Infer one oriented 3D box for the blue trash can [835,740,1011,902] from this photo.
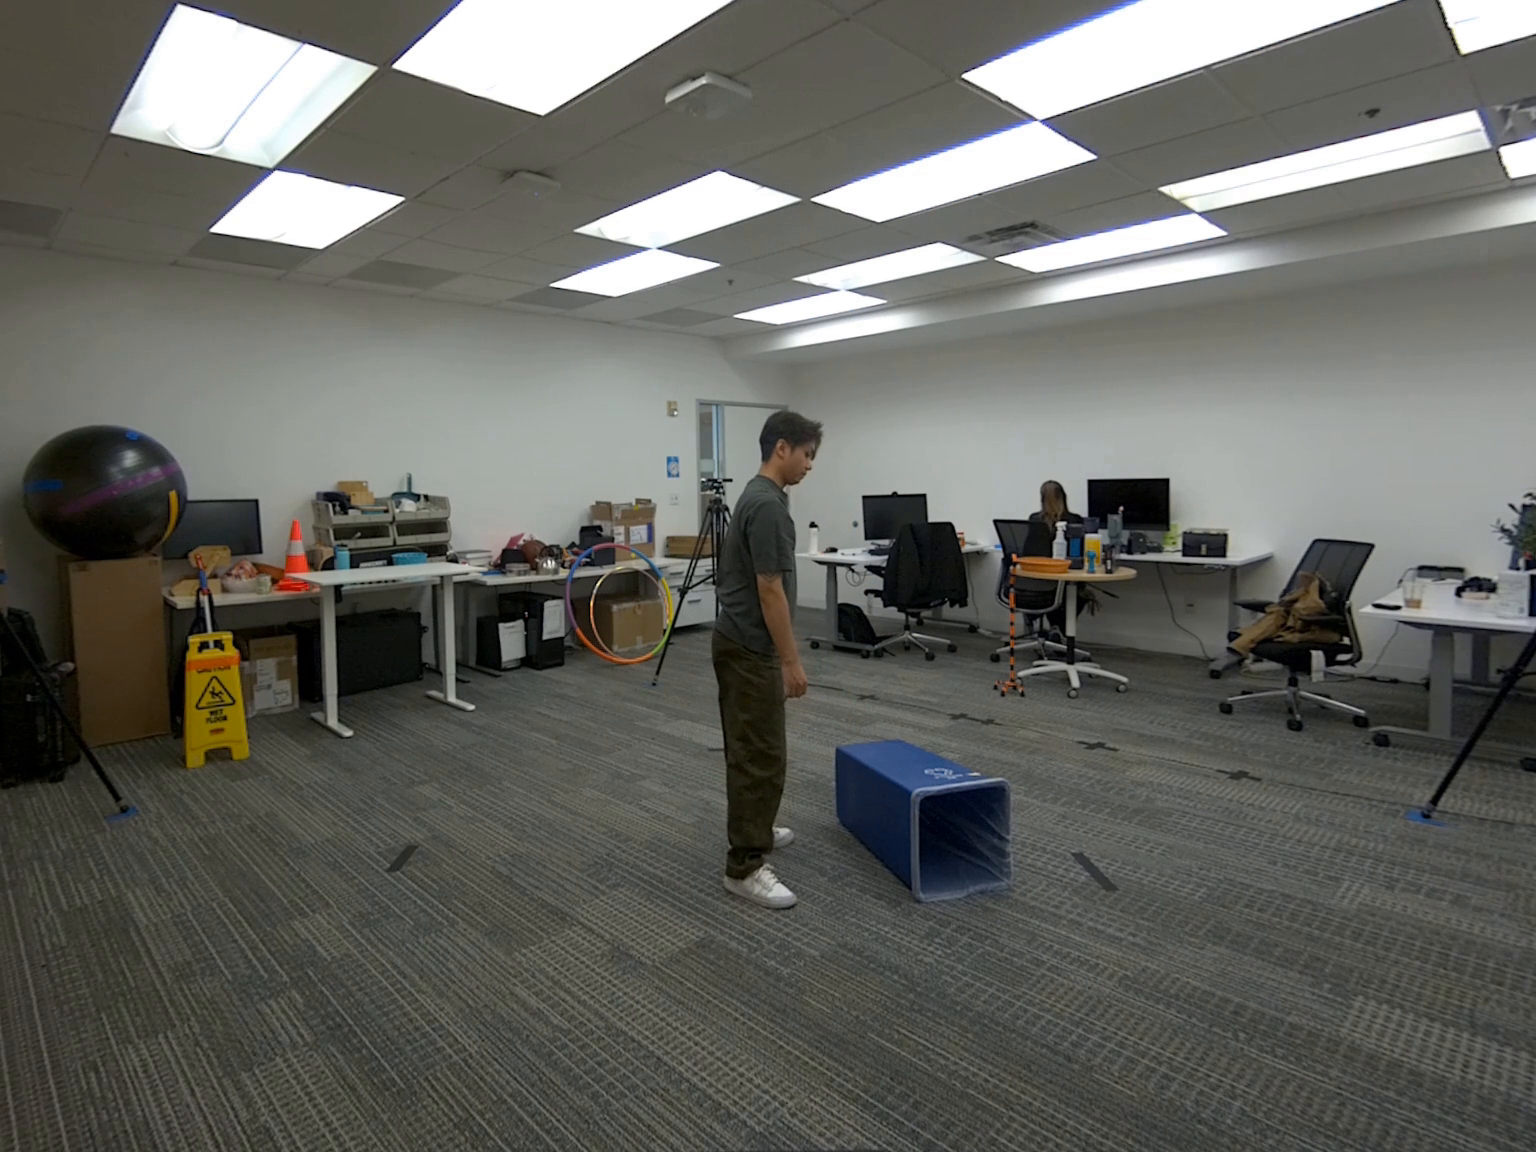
[{"bbox_3d":[0.531,0.848,3.179,0.372,0.373,0.727,-3,5,-19],"label":"blue trash can"}]
